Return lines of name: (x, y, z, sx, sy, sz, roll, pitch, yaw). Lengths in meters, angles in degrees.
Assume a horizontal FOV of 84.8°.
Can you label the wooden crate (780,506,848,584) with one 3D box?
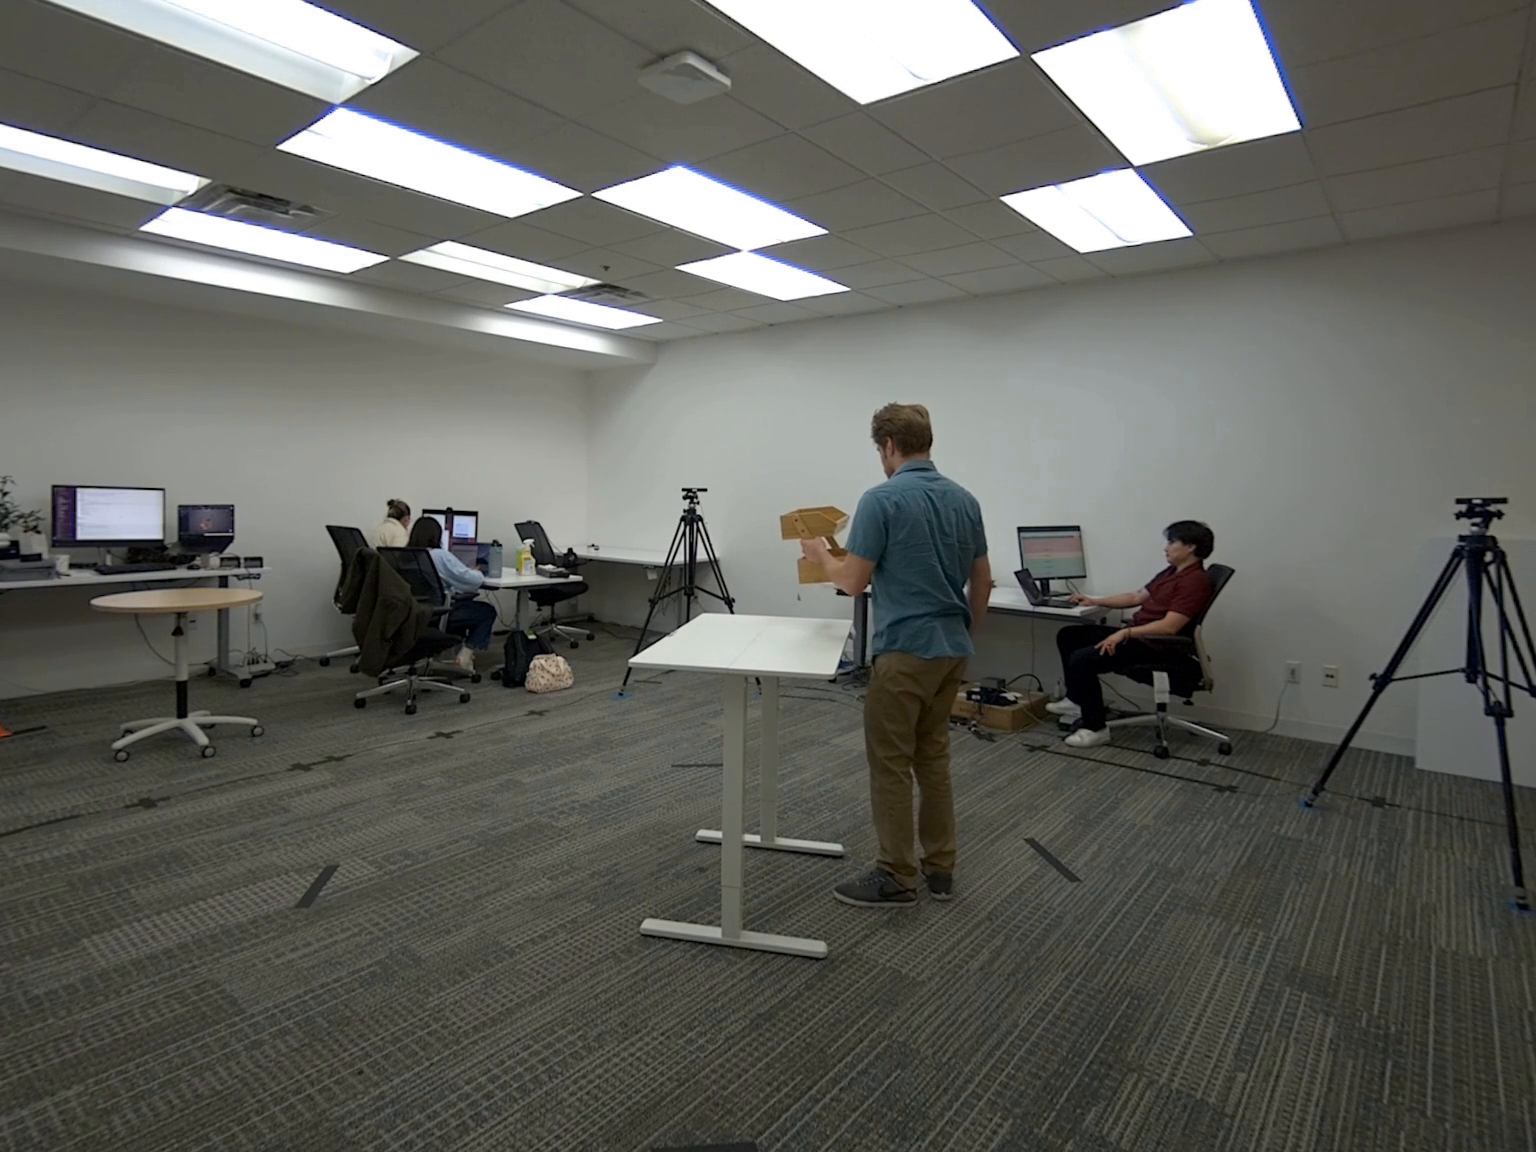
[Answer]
wooden crate: (0.228, -0.133, 3.250, 0.307, 0.272, 0.321, -3, 7, 16)
